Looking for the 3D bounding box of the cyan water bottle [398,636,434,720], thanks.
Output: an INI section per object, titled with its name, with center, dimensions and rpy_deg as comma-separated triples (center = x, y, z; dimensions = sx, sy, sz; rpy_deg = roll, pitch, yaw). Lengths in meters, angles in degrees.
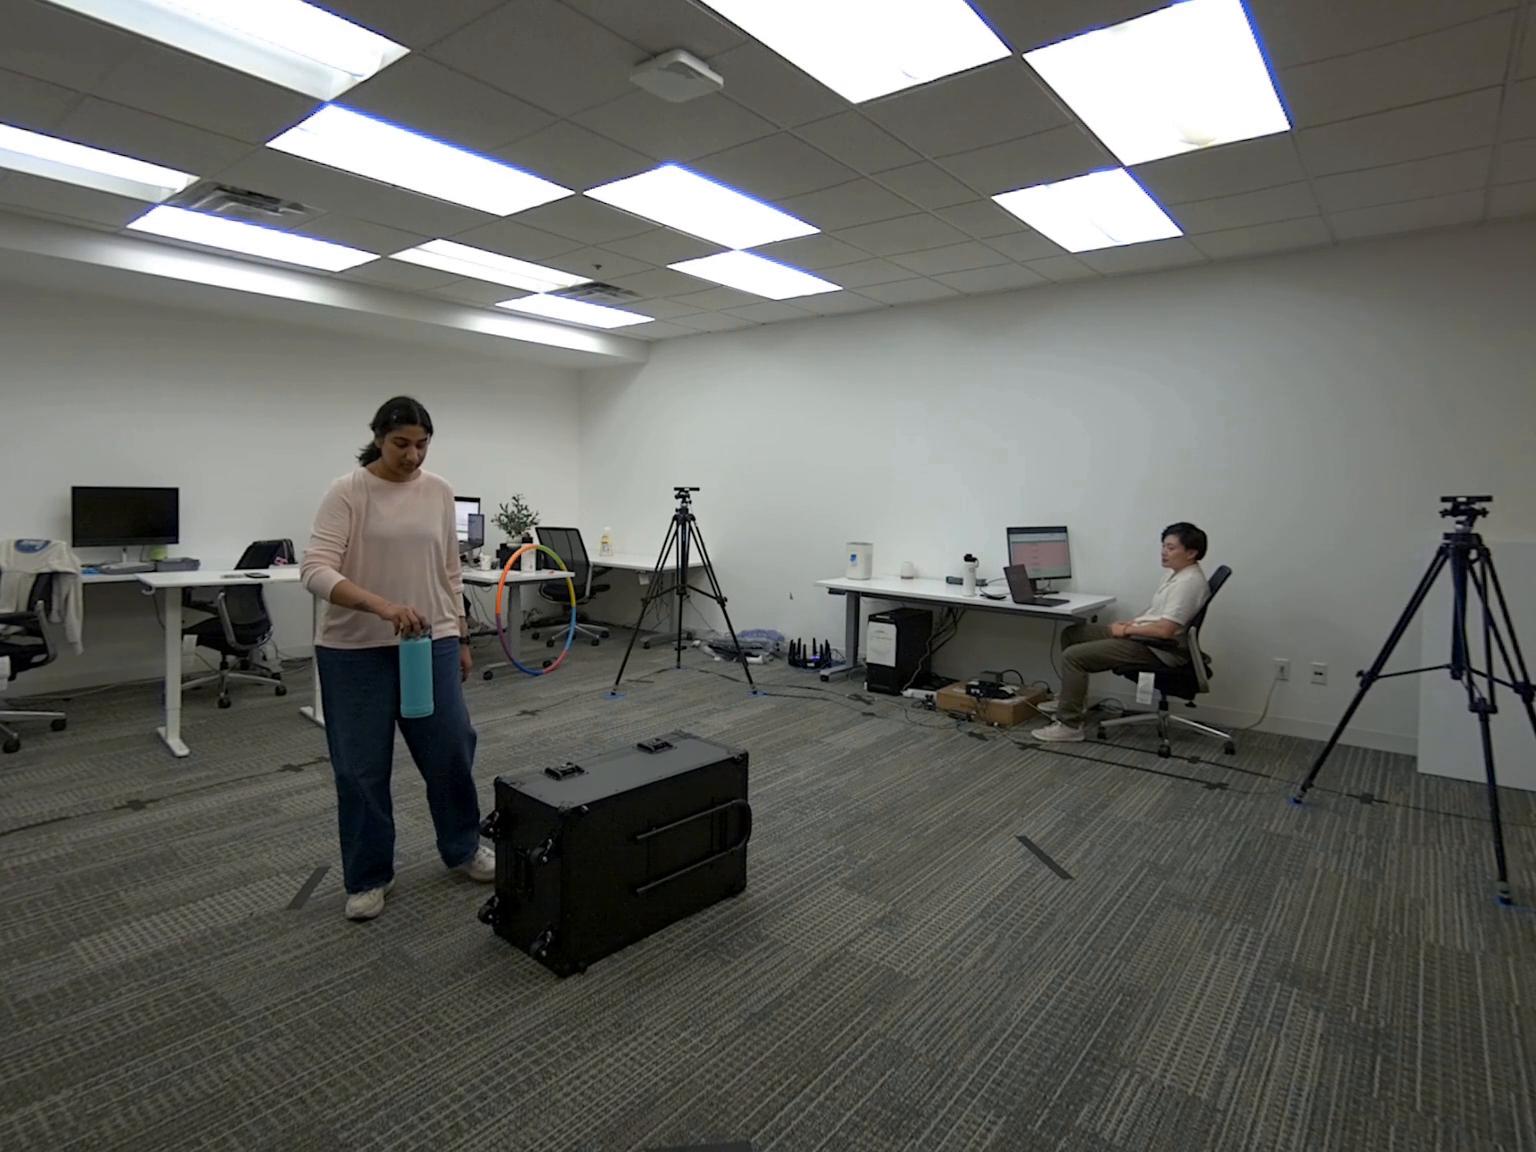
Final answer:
[cyan water bottle]
center = -1.040, 0.268, 2.481
dimensions = 0.092, 0.283, 0.092
rpy_deg = -2, 0, -2
